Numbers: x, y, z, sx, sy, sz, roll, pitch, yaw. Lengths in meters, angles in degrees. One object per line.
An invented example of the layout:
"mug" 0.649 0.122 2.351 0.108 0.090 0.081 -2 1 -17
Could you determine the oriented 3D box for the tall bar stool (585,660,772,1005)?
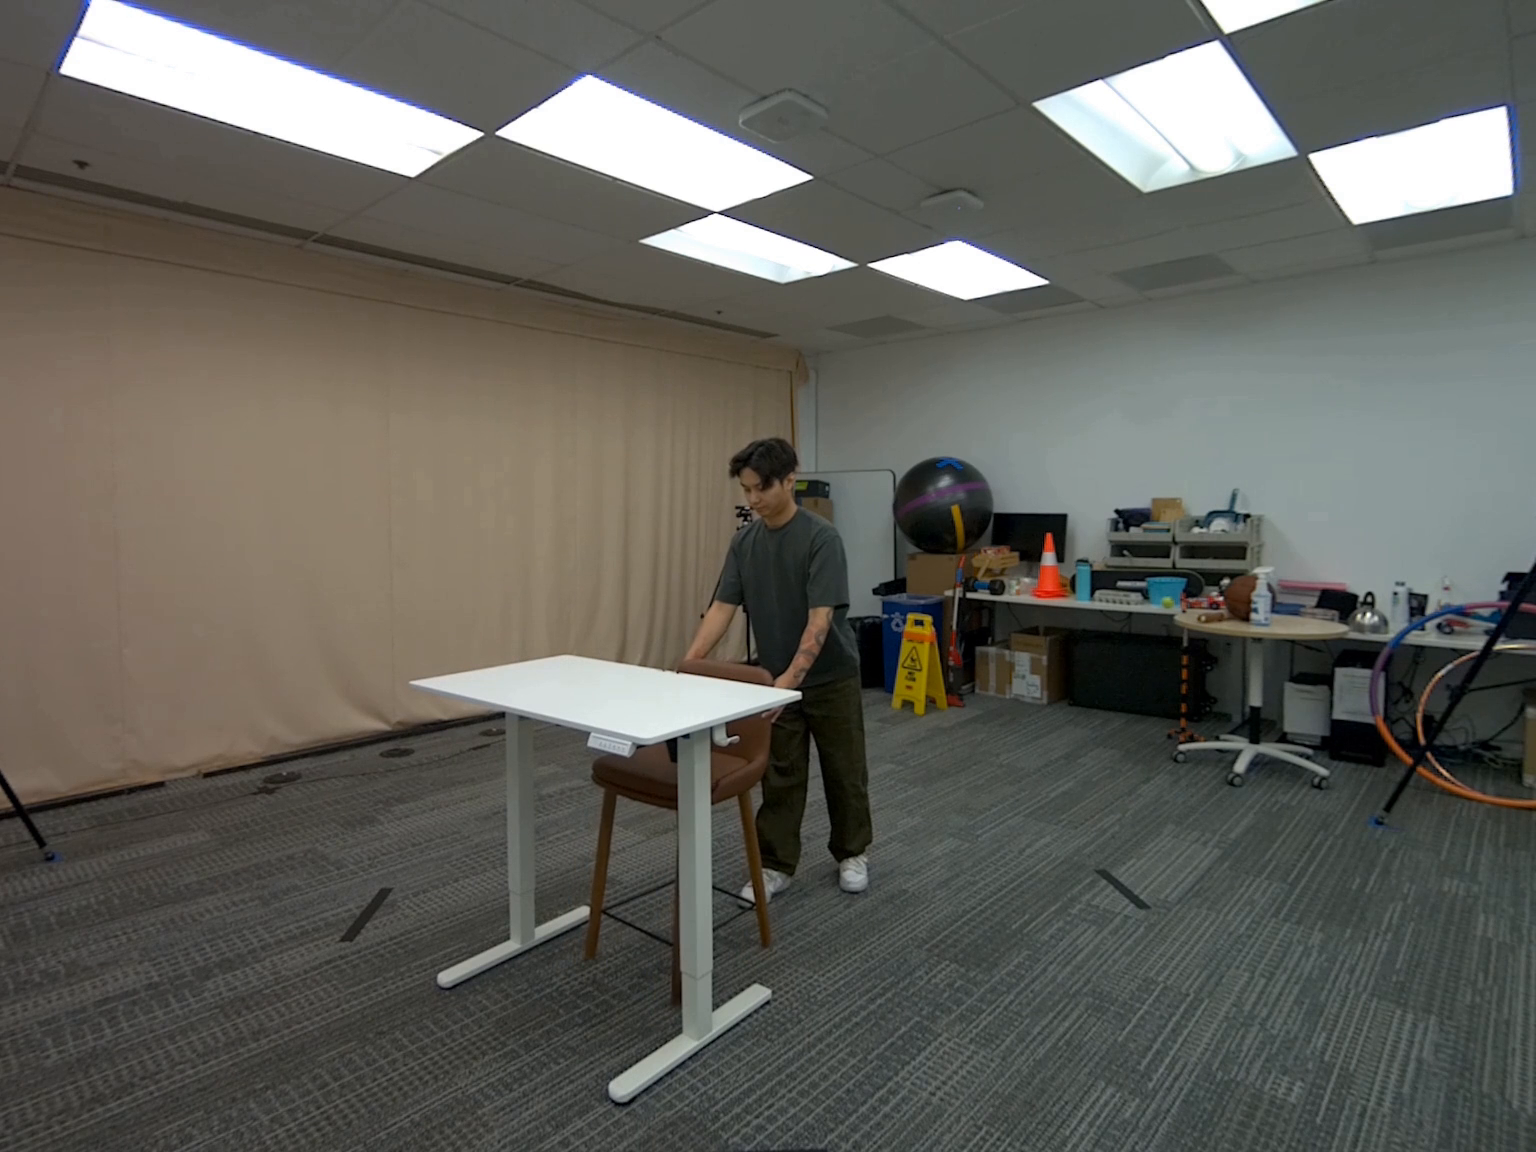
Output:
"tall bar stool" -0.258 0.735 2.616 0.471 0.889 0.452 3 1 41
